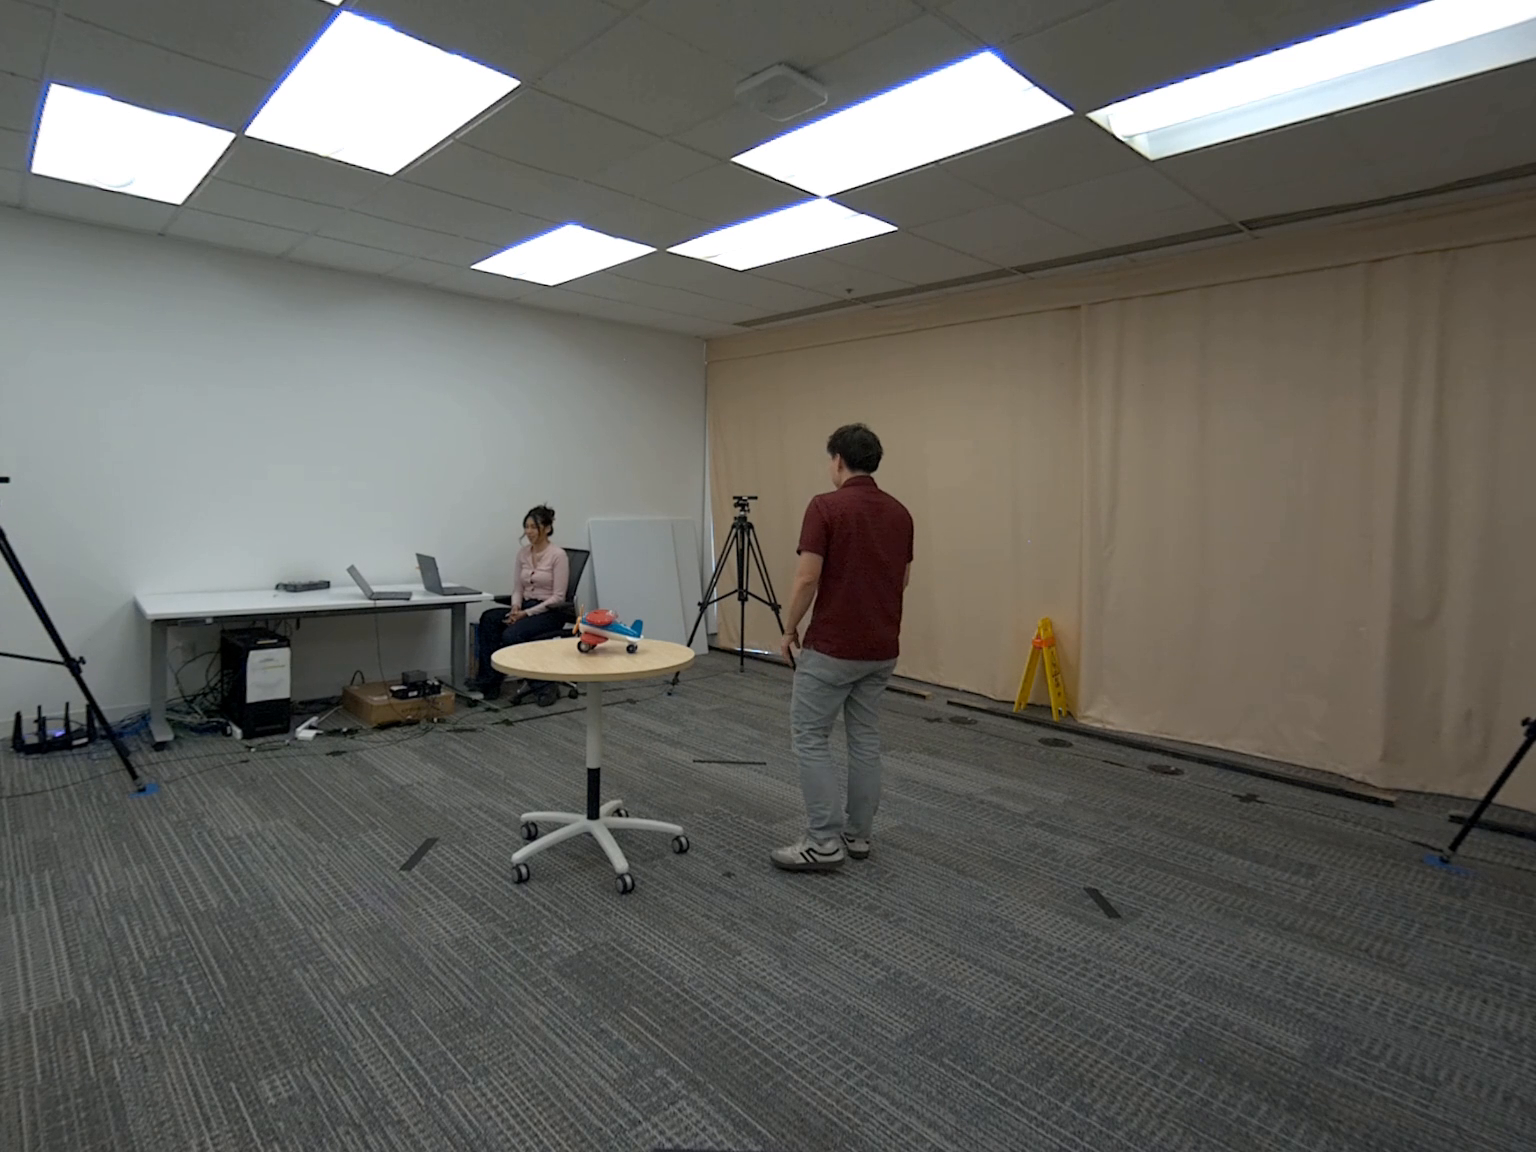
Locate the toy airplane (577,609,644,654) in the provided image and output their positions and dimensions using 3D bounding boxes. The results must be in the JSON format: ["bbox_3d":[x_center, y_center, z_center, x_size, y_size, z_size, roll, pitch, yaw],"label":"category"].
[{"bbox_3d":[-0.624,0.214,3.276,0.255,0.156,0.256,-3,5,-24],"label":"toy airplane"}]
